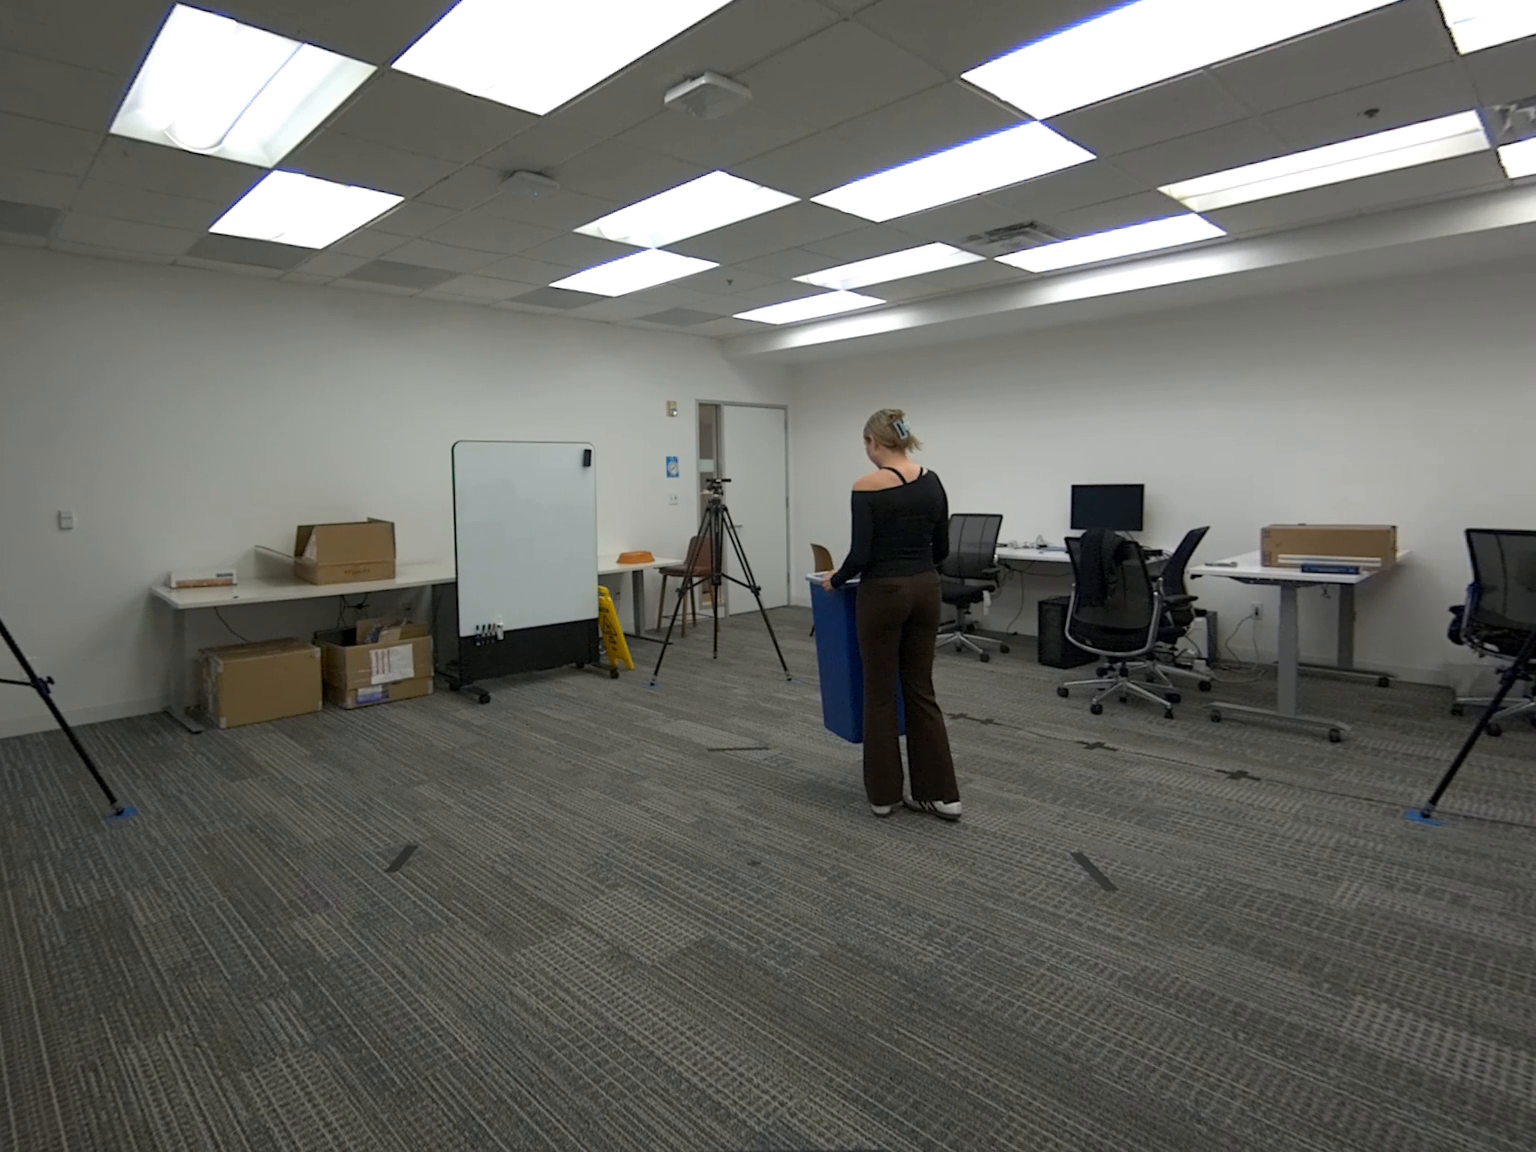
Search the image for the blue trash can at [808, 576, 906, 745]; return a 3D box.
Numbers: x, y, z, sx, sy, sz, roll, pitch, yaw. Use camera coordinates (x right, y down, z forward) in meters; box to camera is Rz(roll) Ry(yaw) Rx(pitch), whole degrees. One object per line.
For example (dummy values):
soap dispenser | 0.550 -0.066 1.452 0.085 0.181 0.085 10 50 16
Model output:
blue trash can | 0.423 0.350 3.843 0.368 0.711 0.386 -5 4 -21
